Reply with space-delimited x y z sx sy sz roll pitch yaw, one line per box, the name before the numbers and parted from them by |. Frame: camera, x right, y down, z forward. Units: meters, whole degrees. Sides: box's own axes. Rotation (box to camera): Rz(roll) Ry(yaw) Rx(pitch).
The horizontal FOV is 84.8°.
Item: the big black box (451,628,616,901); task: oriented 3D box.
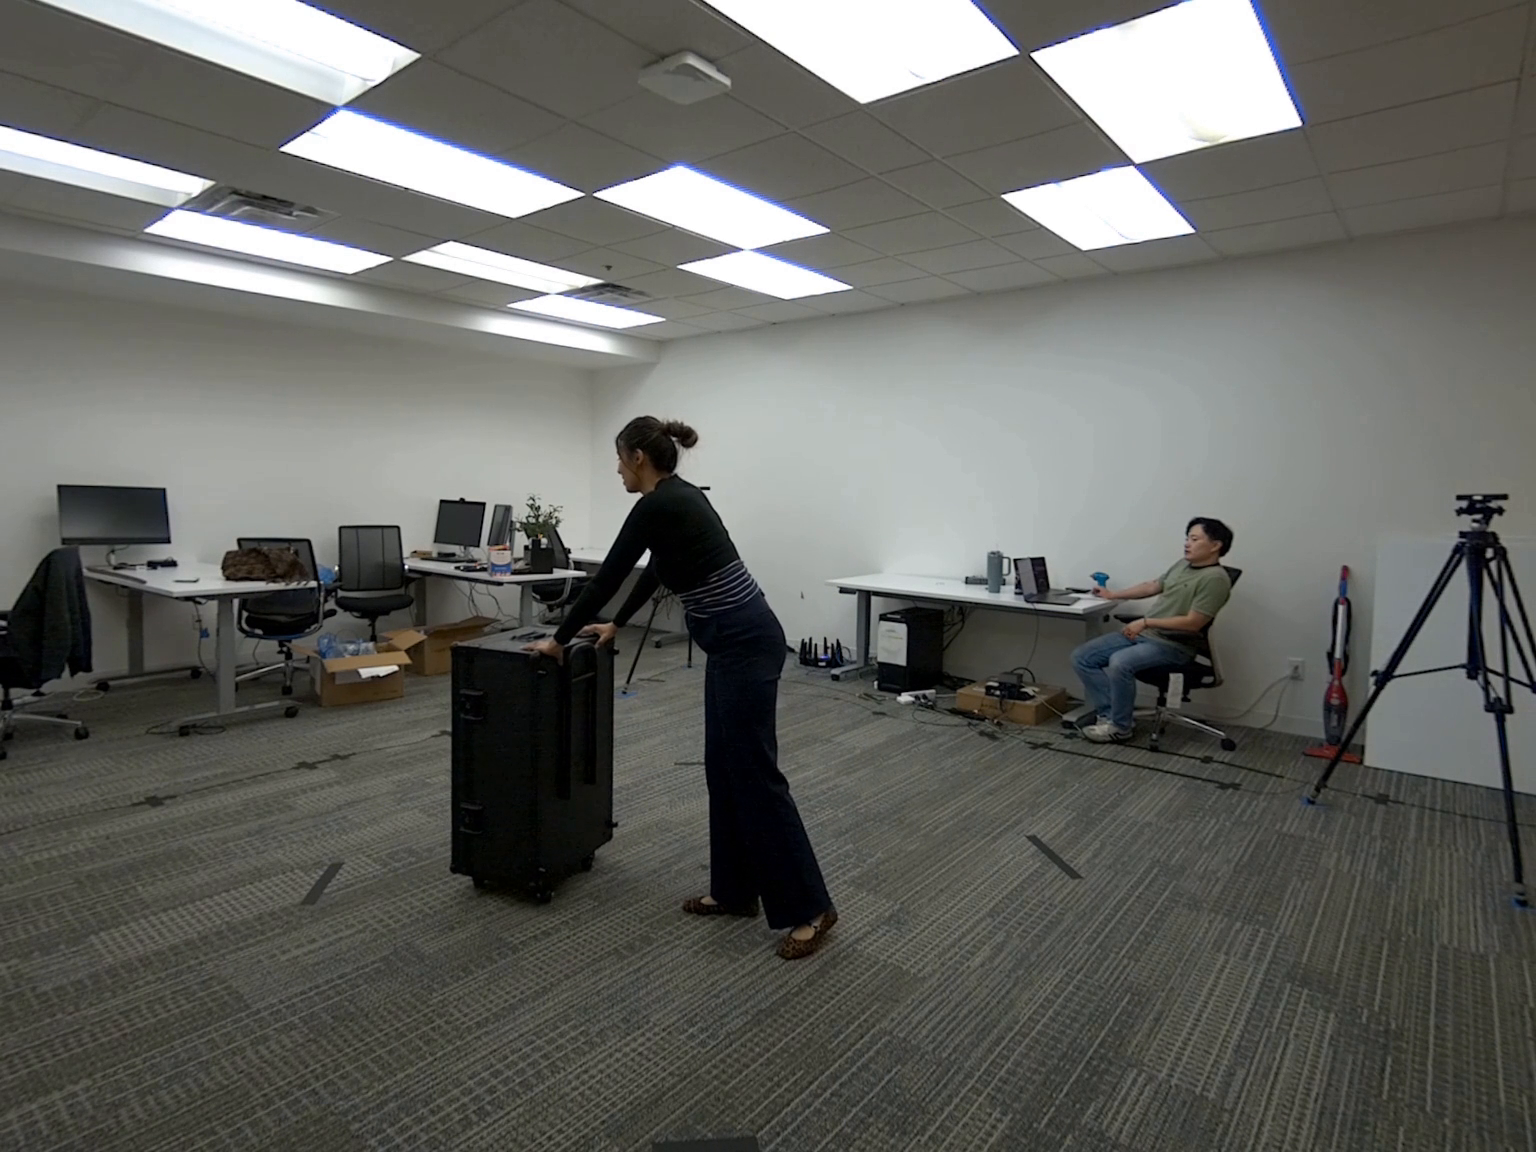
big black box | -0.824 0.640 3.021 0.406 0.859 0.510 3 4 22
